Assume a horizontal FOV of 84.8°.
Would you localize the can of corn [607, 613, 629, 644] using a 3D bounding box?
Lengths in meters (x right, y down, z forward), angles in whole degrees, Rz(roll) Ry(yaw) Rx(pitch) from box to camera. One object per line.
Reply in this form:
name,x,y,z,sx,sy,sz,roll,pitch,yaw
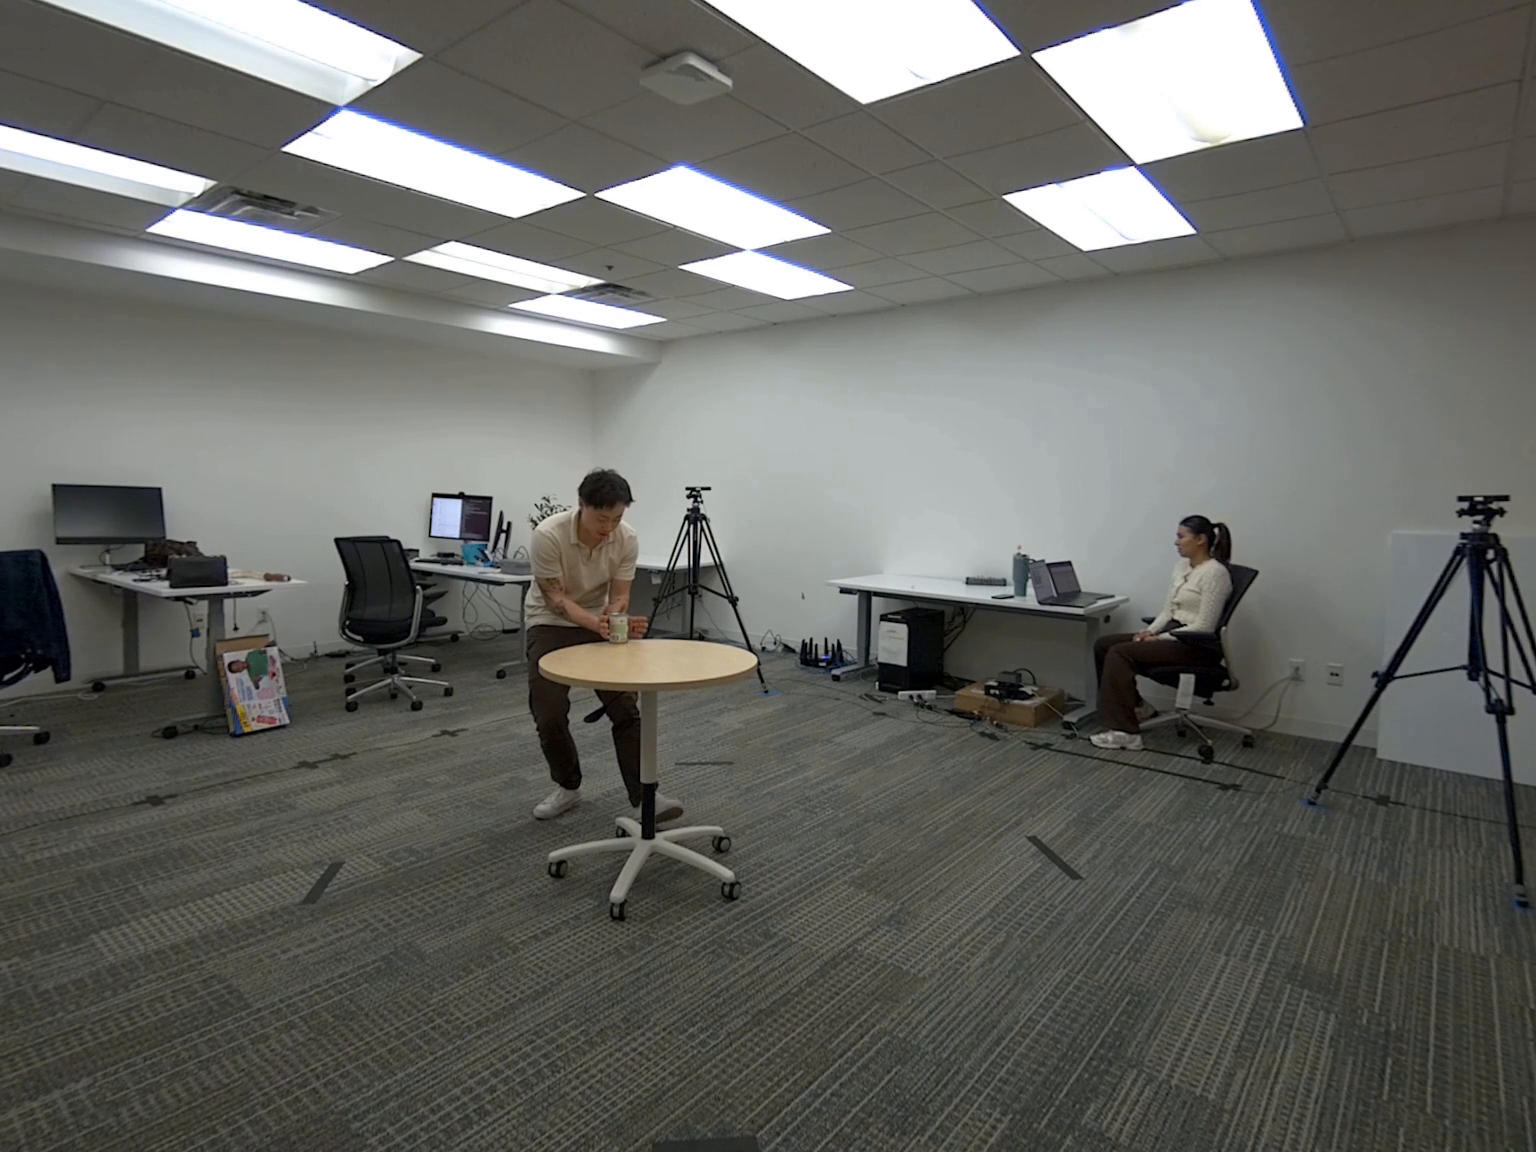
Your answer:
can of corn,-0.609,0.205,3.304,0.074,0.111,0.074,-3,4,-2
